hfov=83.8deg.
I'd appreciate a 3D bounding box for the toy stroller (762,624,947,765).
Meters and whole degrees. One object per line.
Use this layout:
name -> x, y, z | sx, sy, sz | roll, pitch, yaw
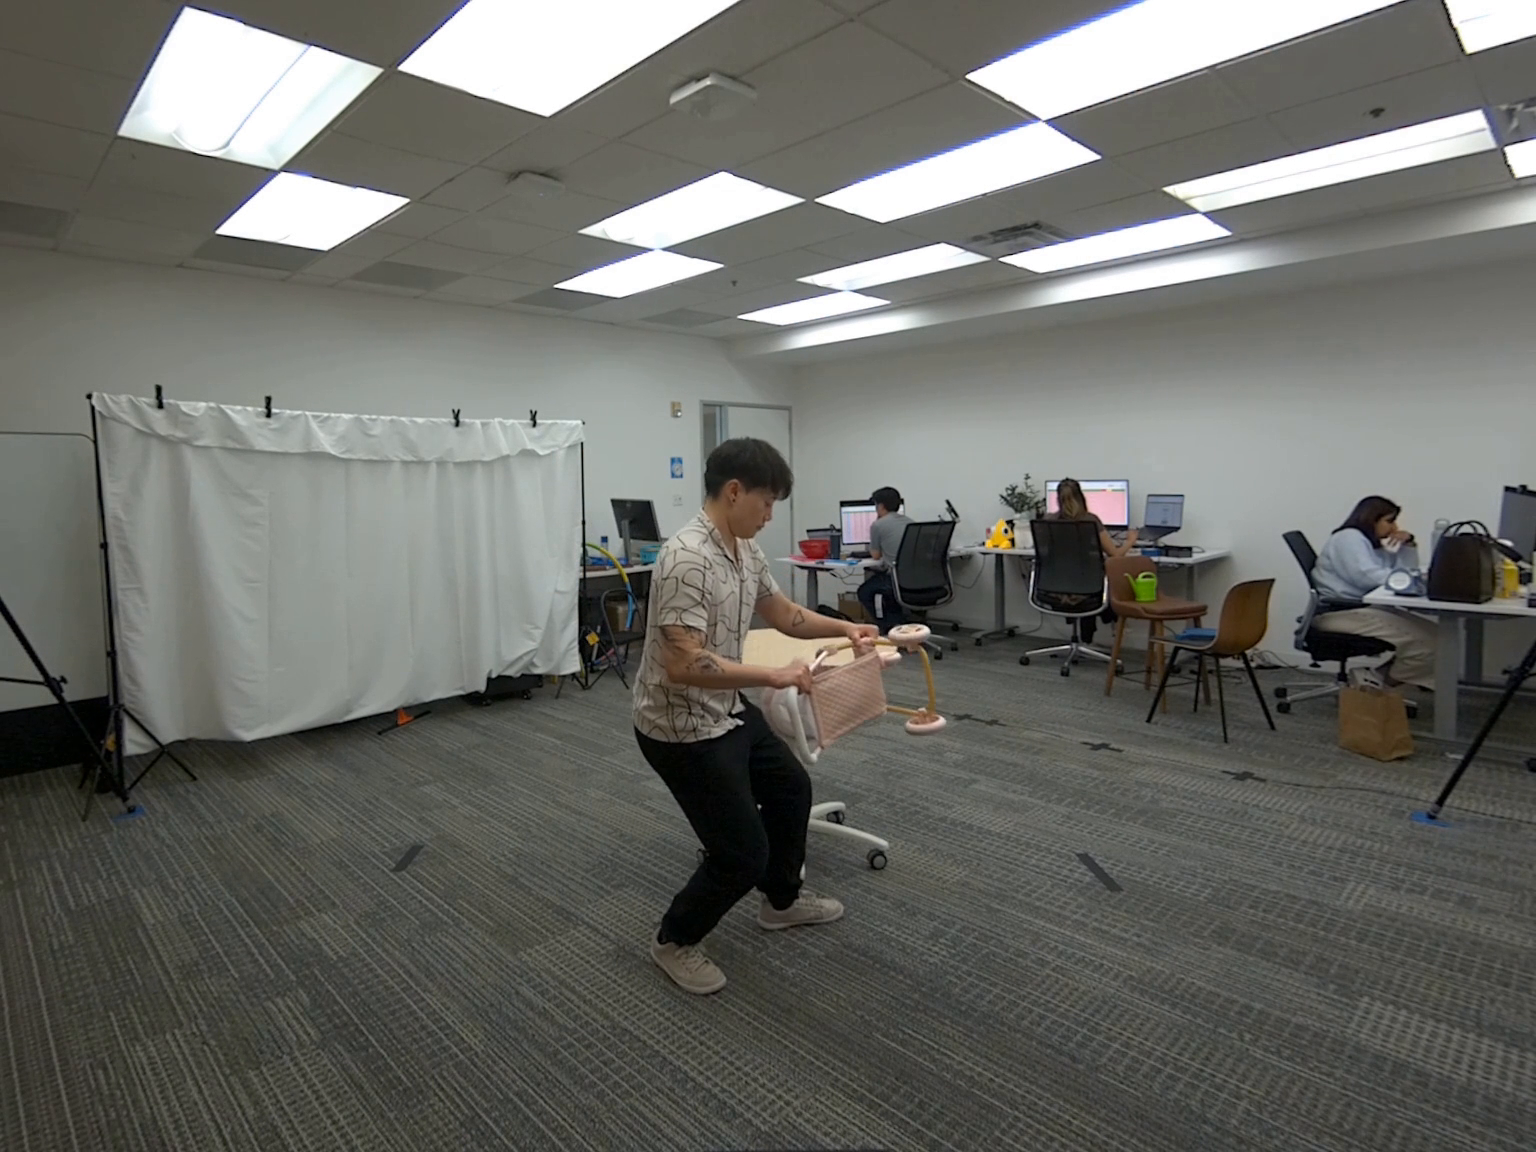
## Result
toy stroller -> 0.219, 0.301, 2.284 | 0.526, 0.278, 0.351 | -15, 12, -26
